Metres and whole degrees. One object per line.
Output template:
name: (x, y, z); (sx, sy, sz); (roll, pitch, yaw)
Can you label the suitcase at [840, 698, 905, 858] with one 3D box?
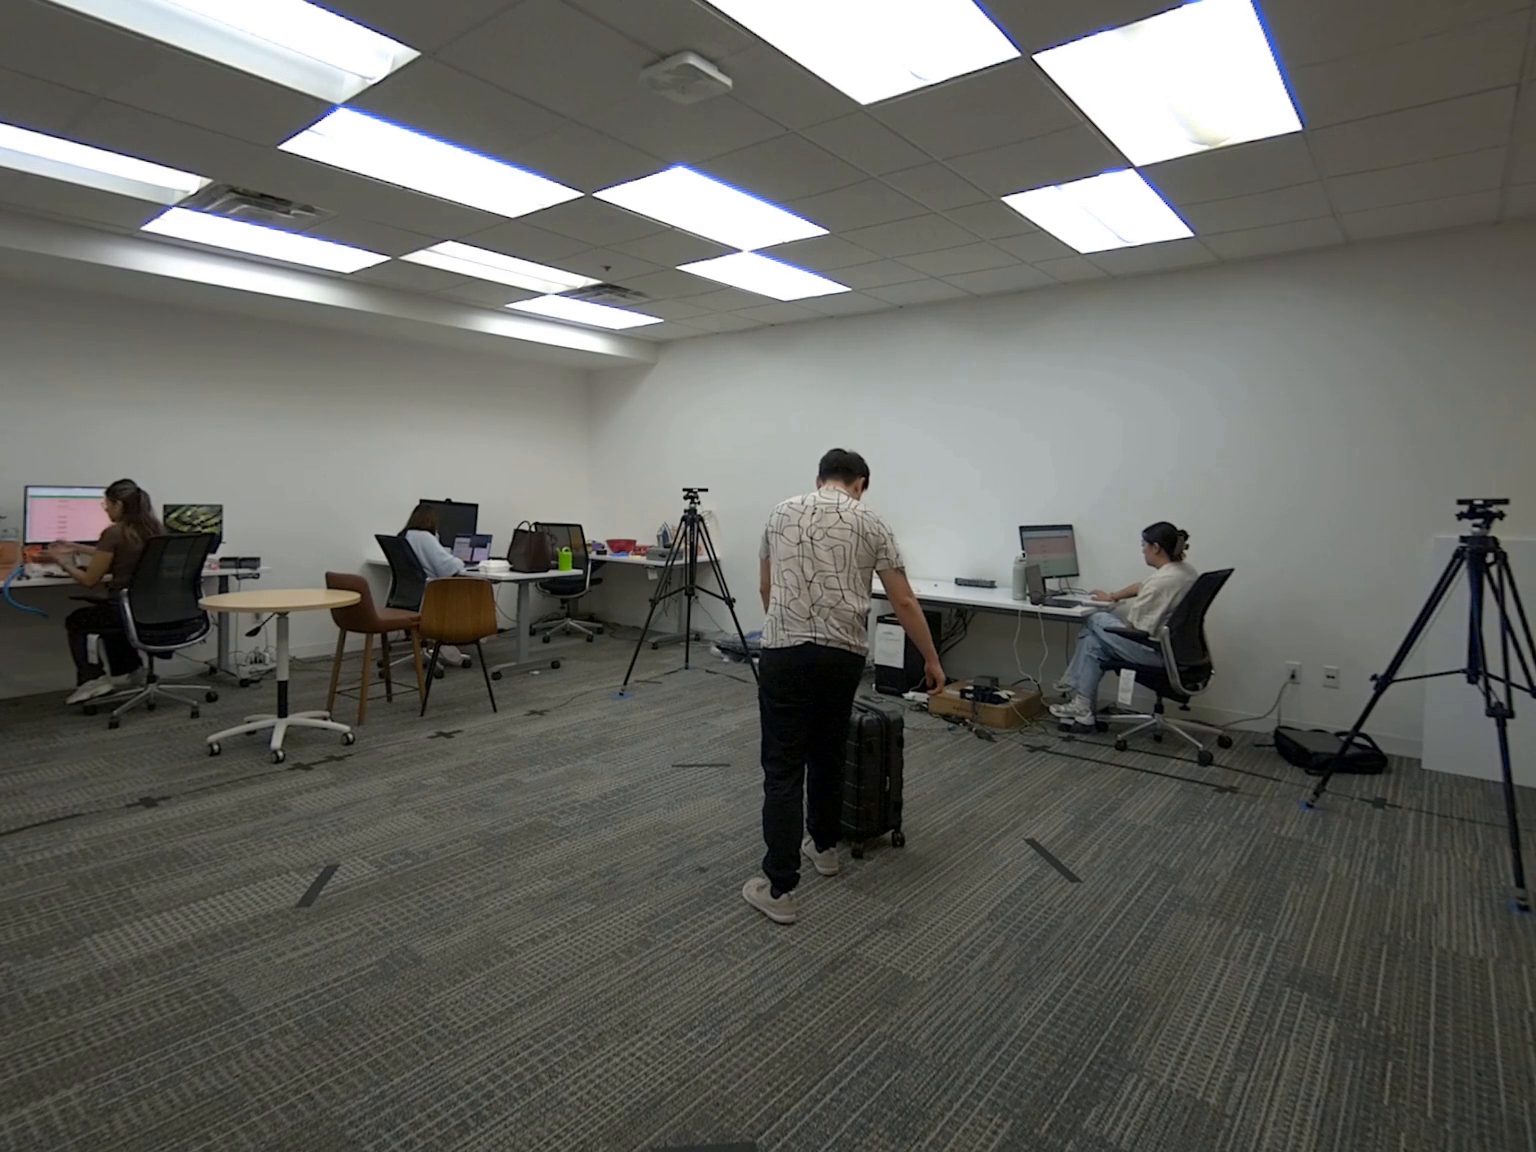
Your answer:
suitcase: (0.341, 0.769, 3.438); (0.241, 0.548, 0.387); (-1, 4, -33)
